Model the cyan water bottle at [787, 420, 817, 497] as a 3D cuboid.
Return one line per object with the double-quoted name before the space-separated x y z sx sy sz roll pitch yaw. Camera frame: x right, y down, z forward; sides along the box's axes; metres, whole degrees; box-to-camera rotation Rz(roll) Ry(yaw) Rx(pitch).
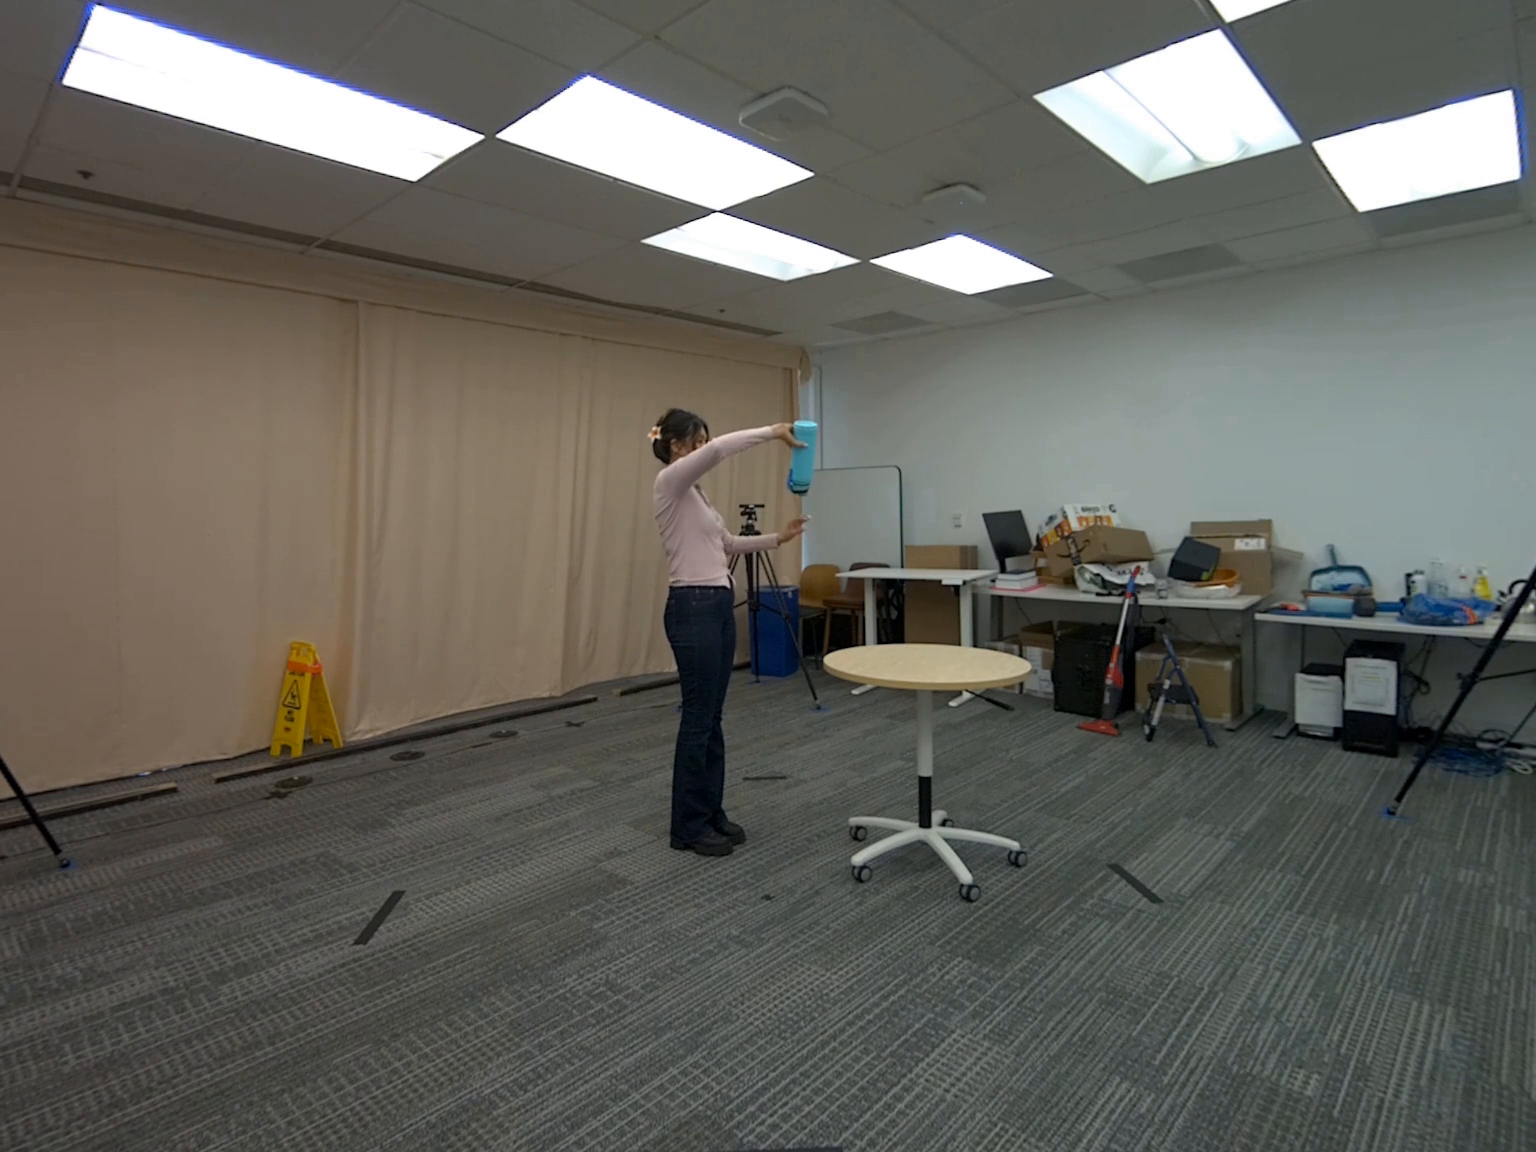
"cyan water bottle" 0.132 -0.444 3.225 0.092 0.280 0.094 3 23 -3
